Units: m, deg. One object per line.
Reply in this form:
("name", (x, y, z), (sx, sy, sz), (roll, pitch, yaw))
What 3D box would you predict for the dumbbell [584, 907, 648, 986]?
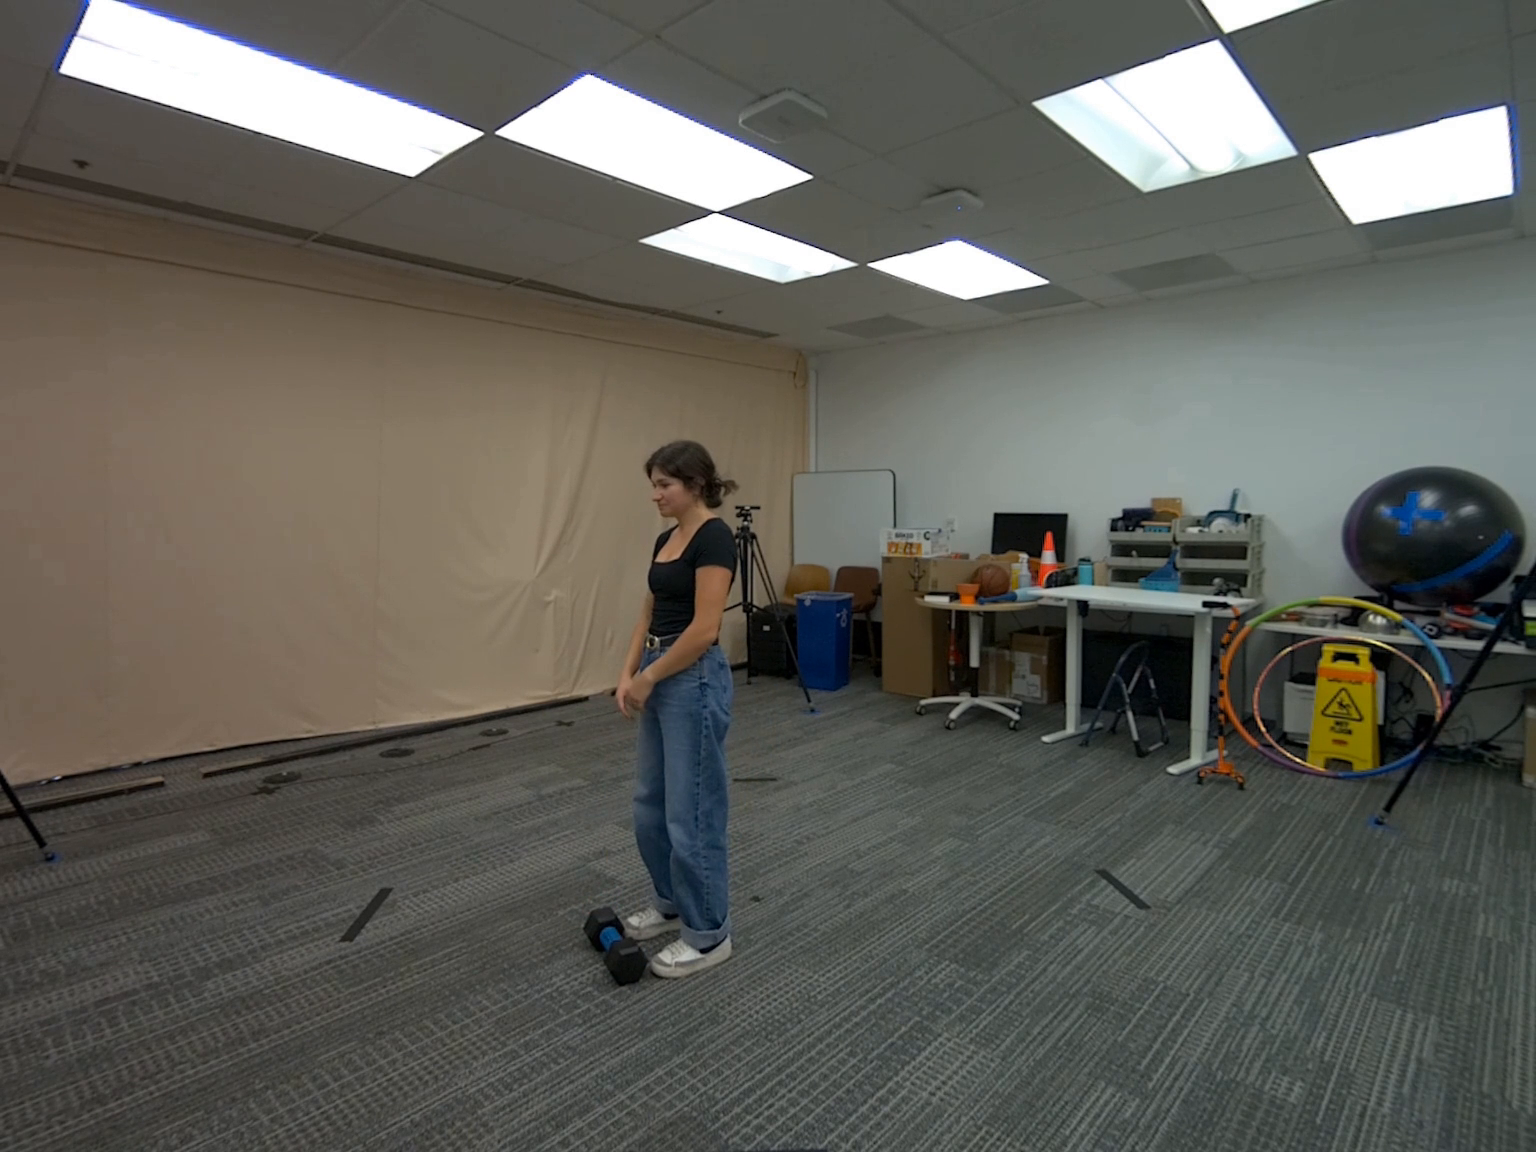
("dumbbell", (-0.472, 1.130, 2.569), (0.107, 0.121, 0.301), (-34, 18, -21))
